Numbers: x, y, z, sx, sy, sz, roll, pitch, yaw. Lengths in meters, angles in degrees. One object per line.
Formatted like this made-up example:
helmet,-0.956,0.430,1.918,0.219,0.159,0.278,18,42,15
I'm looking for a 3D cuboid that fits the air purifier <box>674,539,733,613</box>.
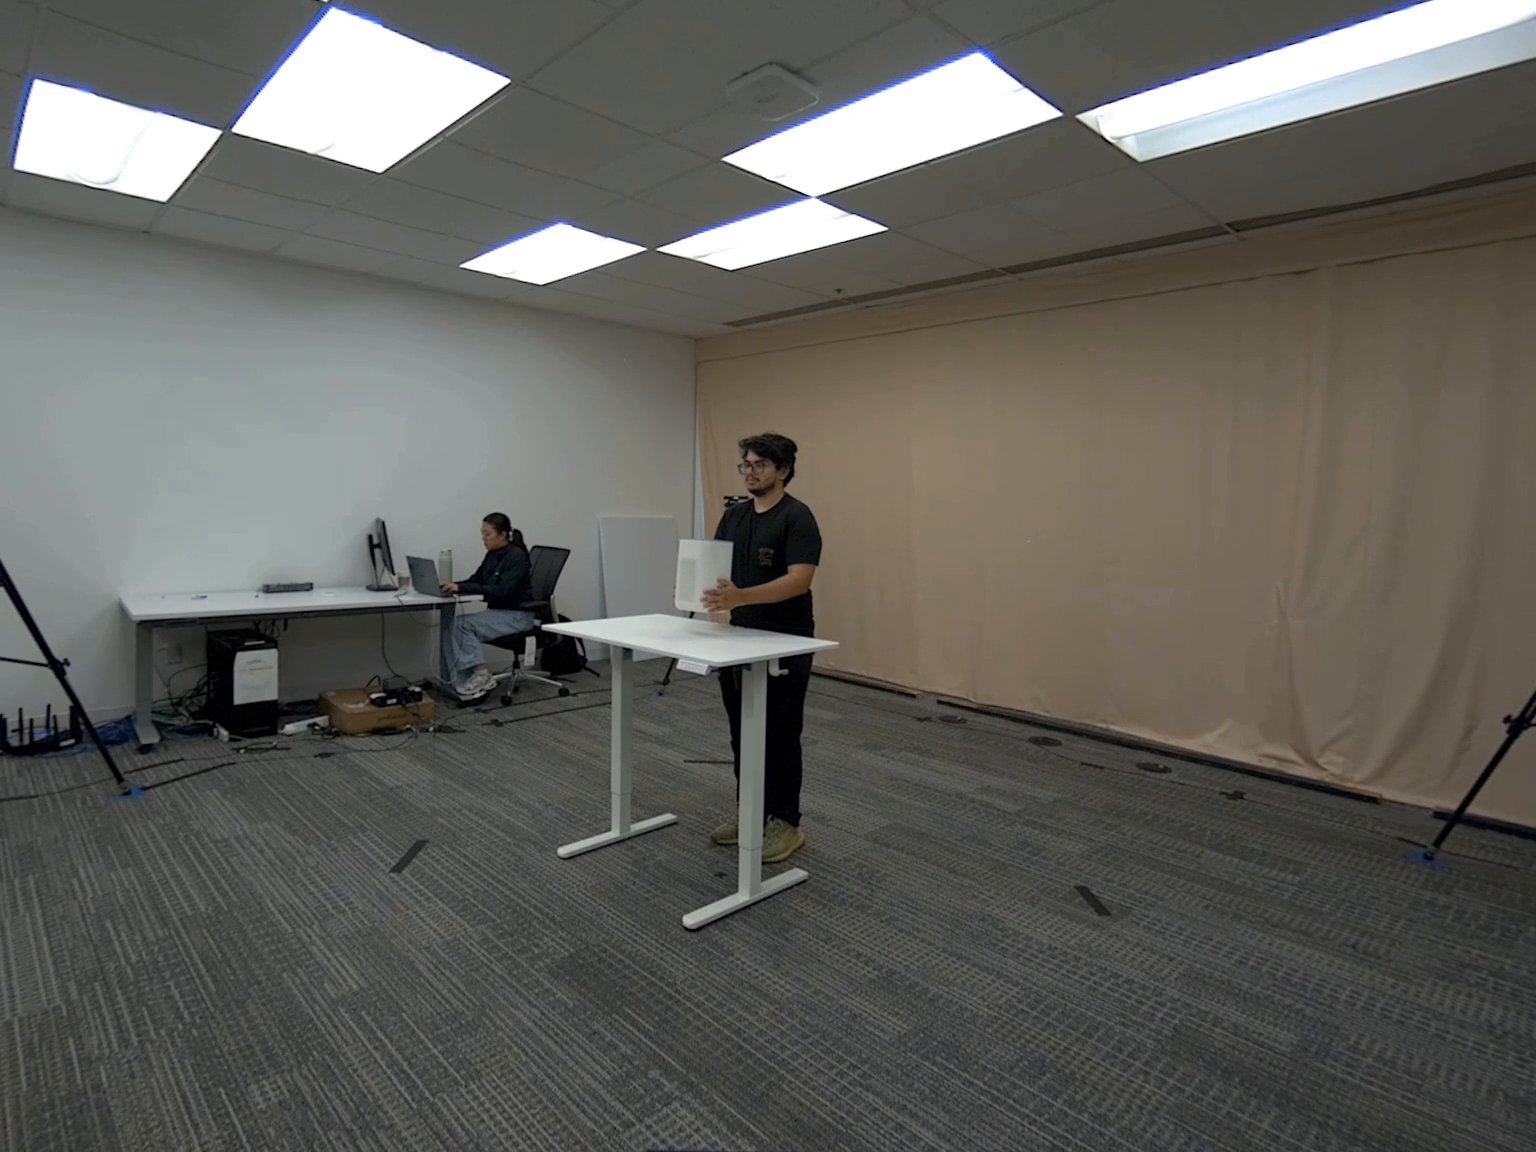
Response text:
air purifier,-0.243,-0.005,3.105,0.176,0.266,0.167,2,-2,41
